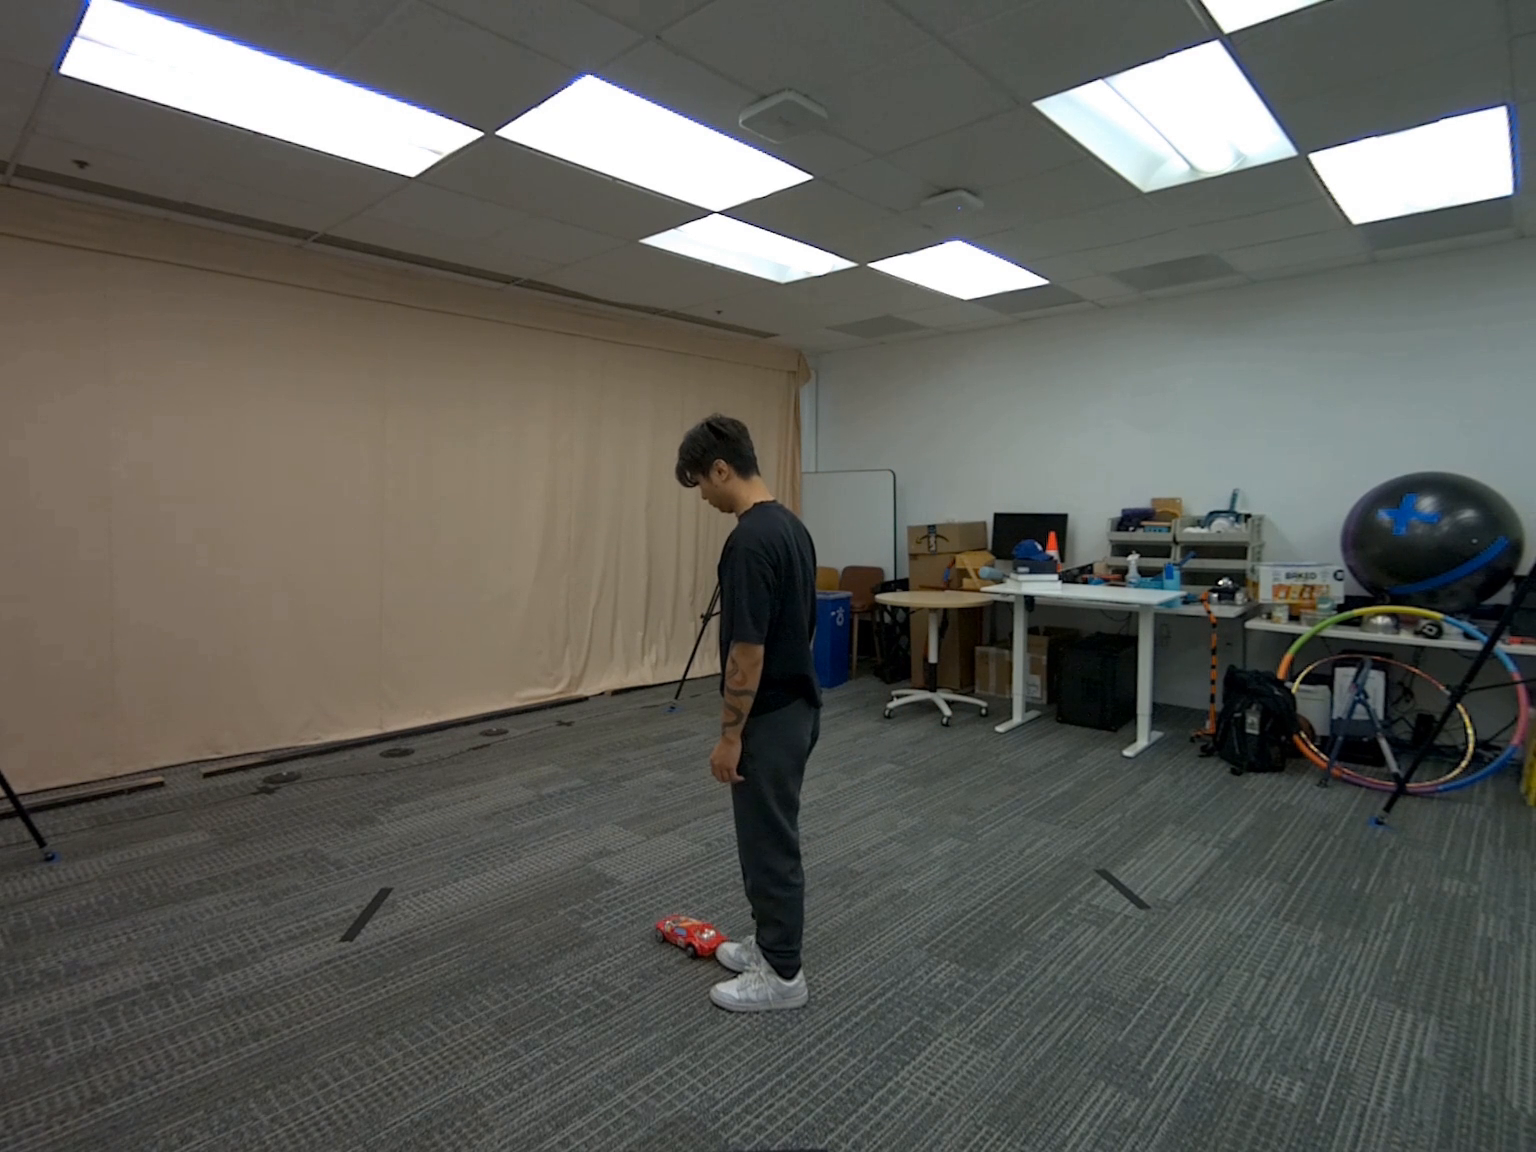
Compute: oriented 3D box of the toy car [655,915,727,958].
[{"bbox_3d":[-0.239,1.142,2.661,0.261,0.083,0.126,-11,-4,42],"label":"toy car"}]
